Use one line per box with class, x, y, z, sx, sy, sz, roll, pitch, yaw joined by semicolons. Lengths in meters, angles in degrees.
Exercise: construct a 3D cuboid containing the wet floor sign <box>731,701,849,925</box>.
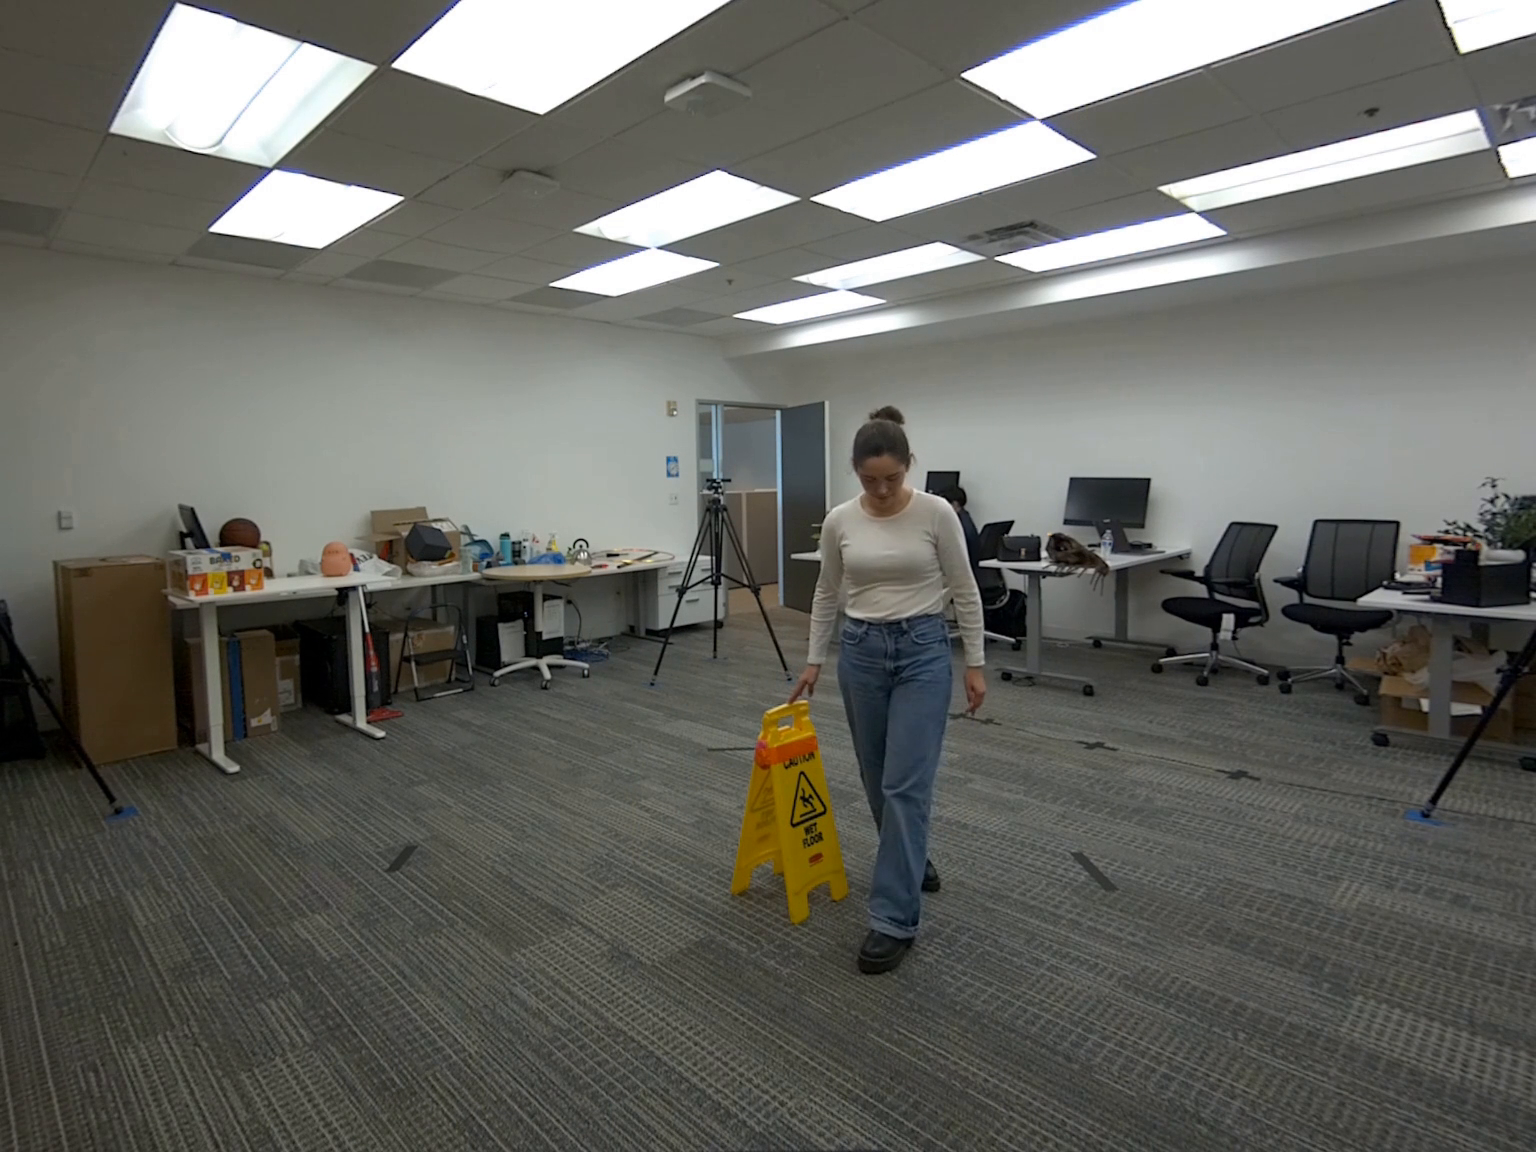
wet floor sign;0.072;0.747;2.845;0.299;0.643;0.275;4;7;45
